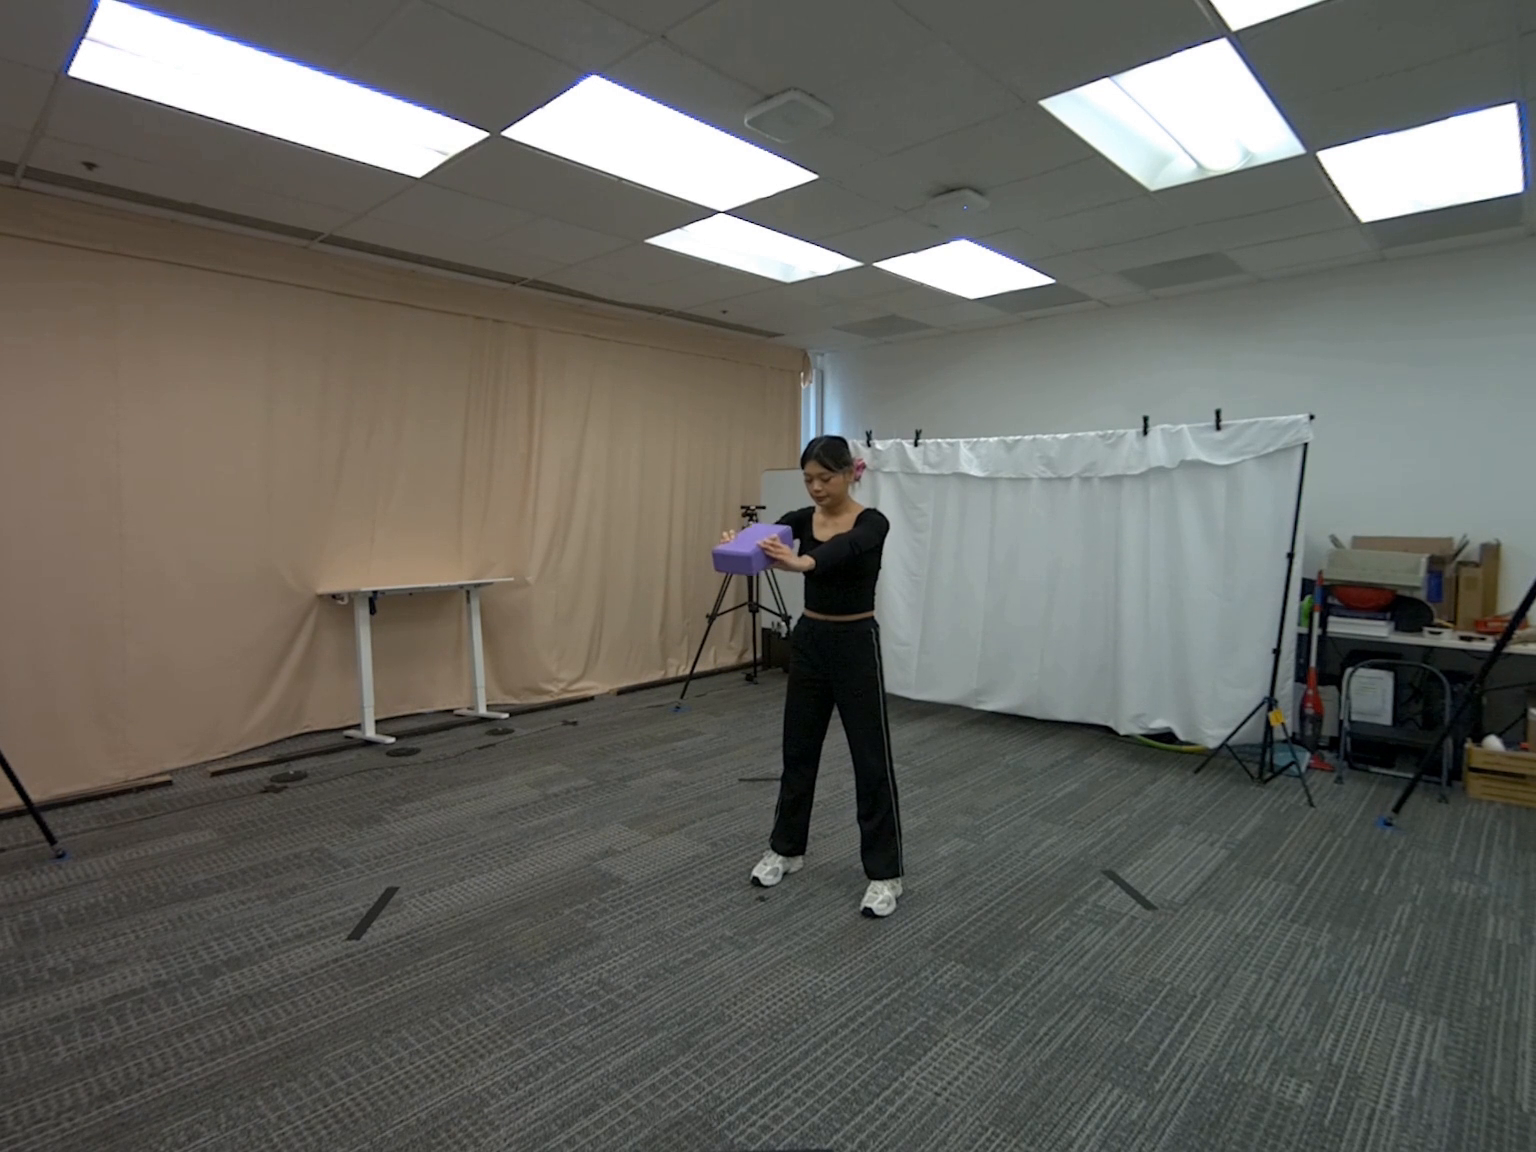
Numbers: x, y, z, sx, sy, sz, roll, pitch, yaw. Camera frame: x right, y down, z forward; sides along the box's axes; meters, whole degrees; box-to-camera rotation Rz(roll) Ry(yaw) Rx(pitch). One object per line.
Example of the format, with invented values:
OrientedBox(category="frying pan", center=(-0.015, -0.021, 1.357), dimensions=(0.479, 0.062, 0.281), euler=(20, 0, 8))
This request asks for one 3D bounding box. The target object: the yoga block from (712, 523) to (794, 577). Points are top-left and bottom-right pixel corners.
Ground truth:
OrientedBox(category="yoga block", center=(-0.040, -0.077, 2.521), dimensions=(0.154, 0.075, 0.225), euler=(7, 28, 37))
